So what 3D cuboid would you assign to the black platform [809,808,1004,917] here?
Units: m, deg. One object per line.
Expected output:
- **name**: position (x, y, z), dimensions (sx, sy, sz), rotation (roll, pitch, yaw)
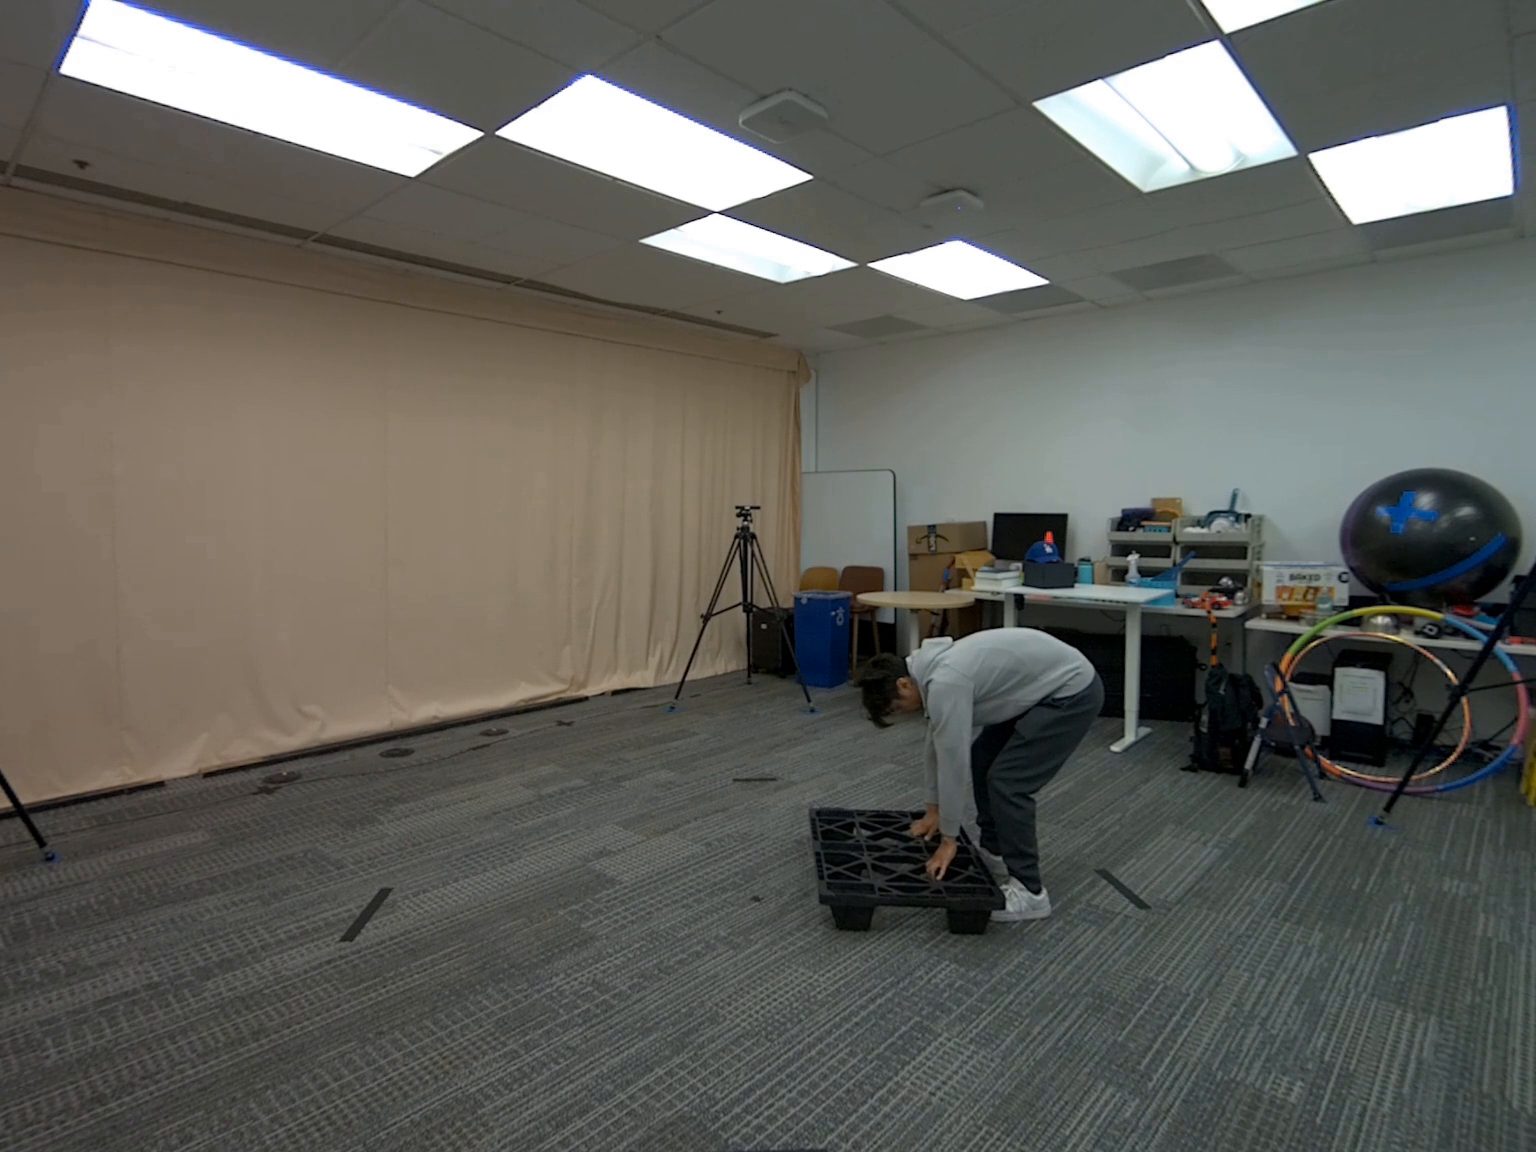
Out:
- **black platform**: position (0.472, 1.063, 3.101), dimensions (0.607, 0.143, 0.805), rotation (1, 5, 2)
